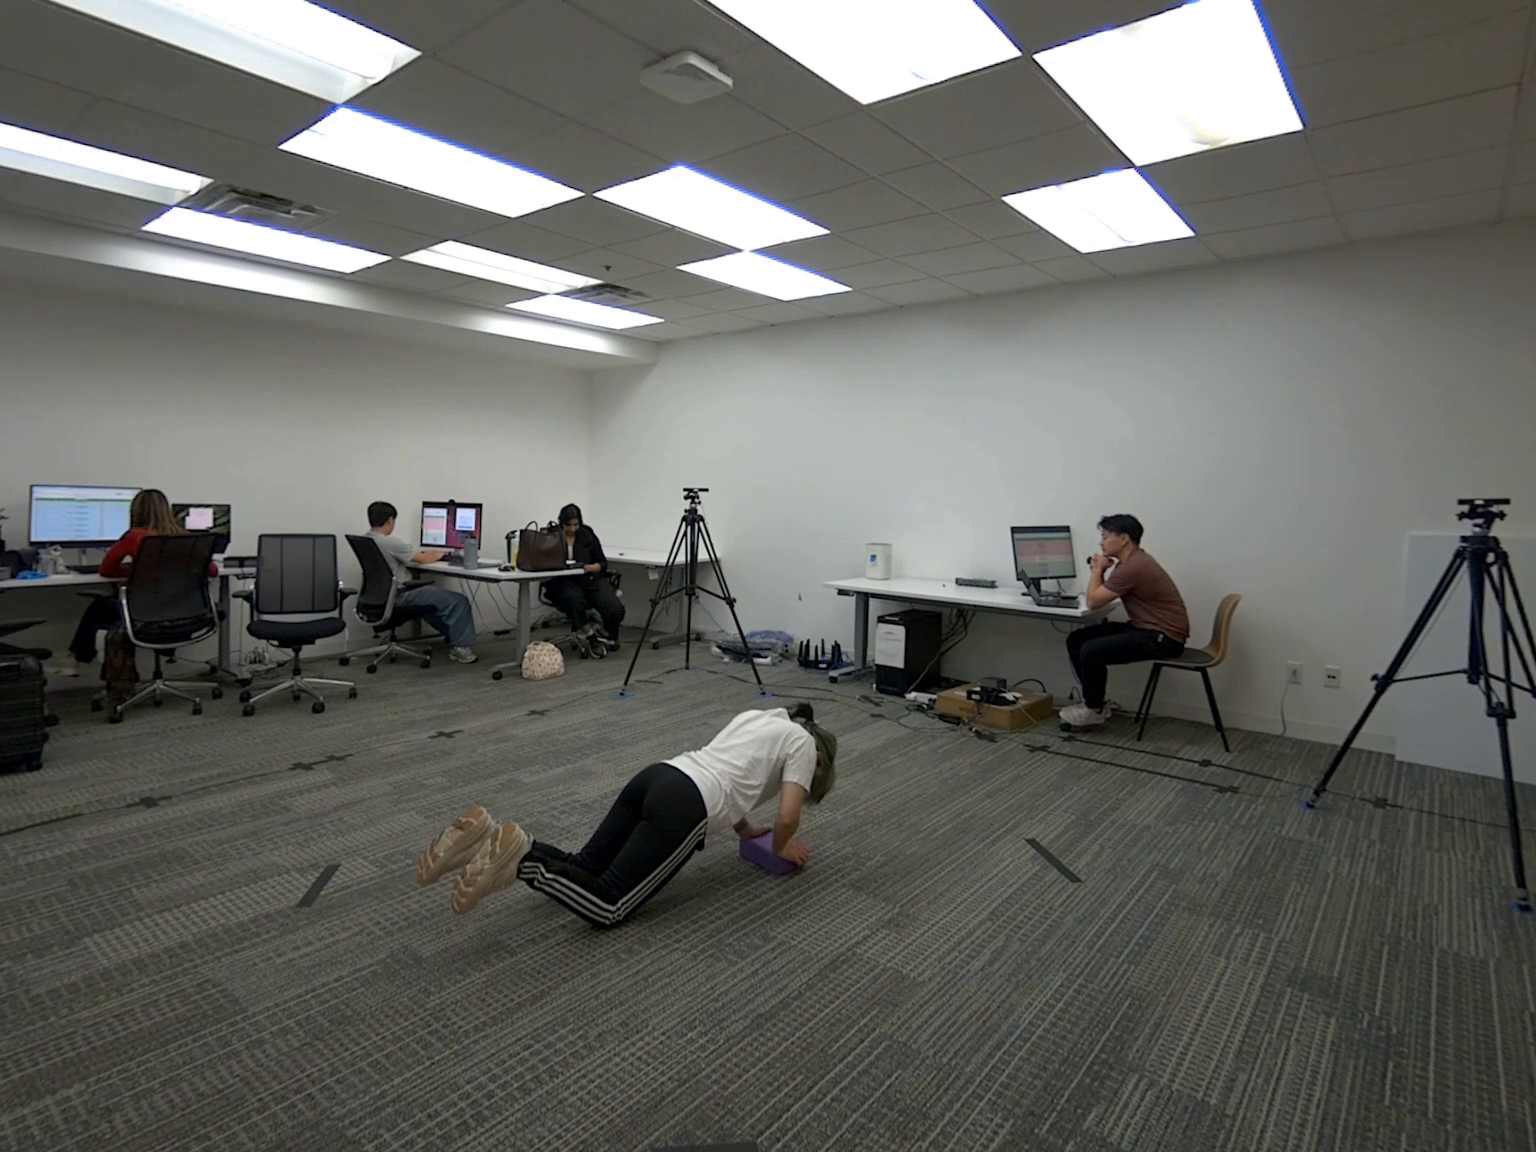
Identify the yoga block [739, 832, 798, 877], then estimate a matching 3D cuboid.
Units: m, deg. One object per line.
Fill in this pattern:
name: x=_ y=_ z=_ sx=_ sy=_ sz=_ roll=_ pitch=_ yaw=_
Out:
yoga block: x=0.006 y=1.029 z=3.192 sx=0.144 sy=0.076 sz=0.237 roll=2 pitch=4 yaw=-38
